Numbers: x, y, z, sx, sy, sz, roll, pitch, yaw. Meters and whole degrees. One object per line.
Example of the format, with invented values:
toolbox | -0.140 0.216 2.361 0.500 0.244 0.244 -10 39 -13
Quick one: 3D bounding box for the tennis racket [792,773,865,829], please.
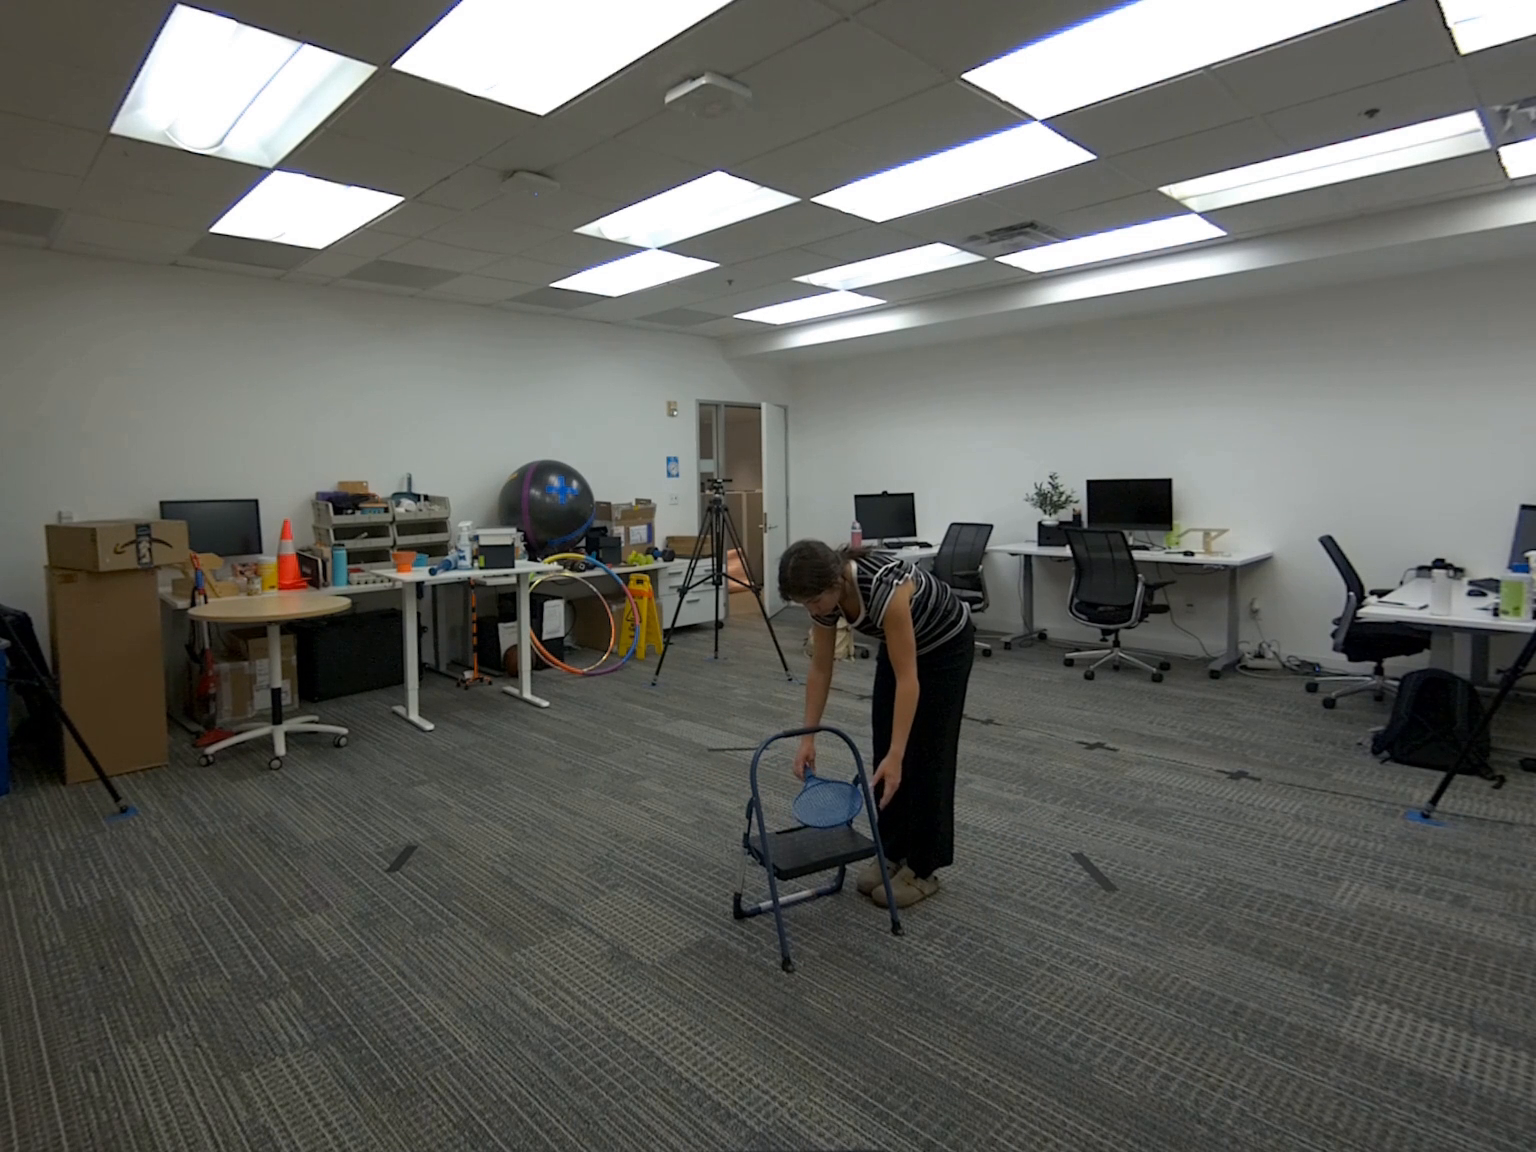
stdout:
tennis racket | 0.171 0.671 2.697 0.213 0.031 0.440 -18 12 -7
